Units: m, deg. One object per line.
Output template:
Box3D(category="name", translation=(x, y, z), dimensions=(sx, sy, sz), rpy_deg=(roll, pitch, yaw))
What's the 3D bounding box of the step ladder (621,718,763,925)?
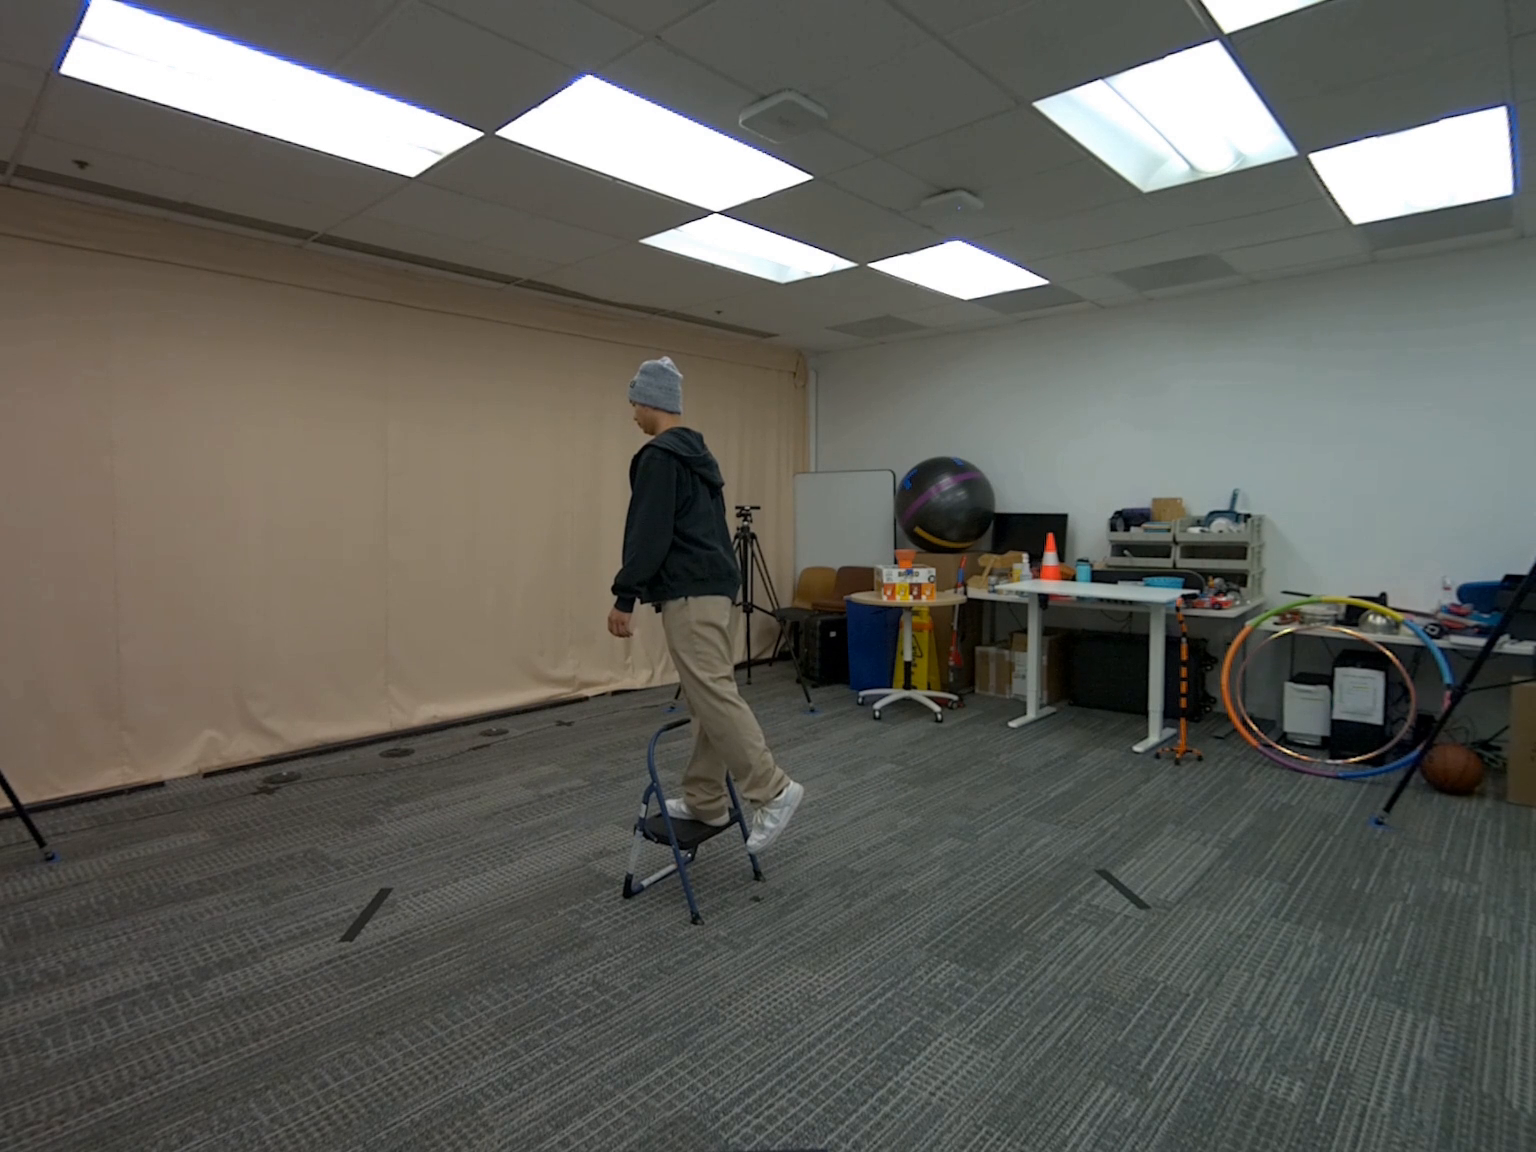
Box3D(category="step ladder", translation=(-0.270, 0.839, 3.054), dimensions=(0.360, 0.605, 0.419), rpy_deg=(1, 3, 32))
